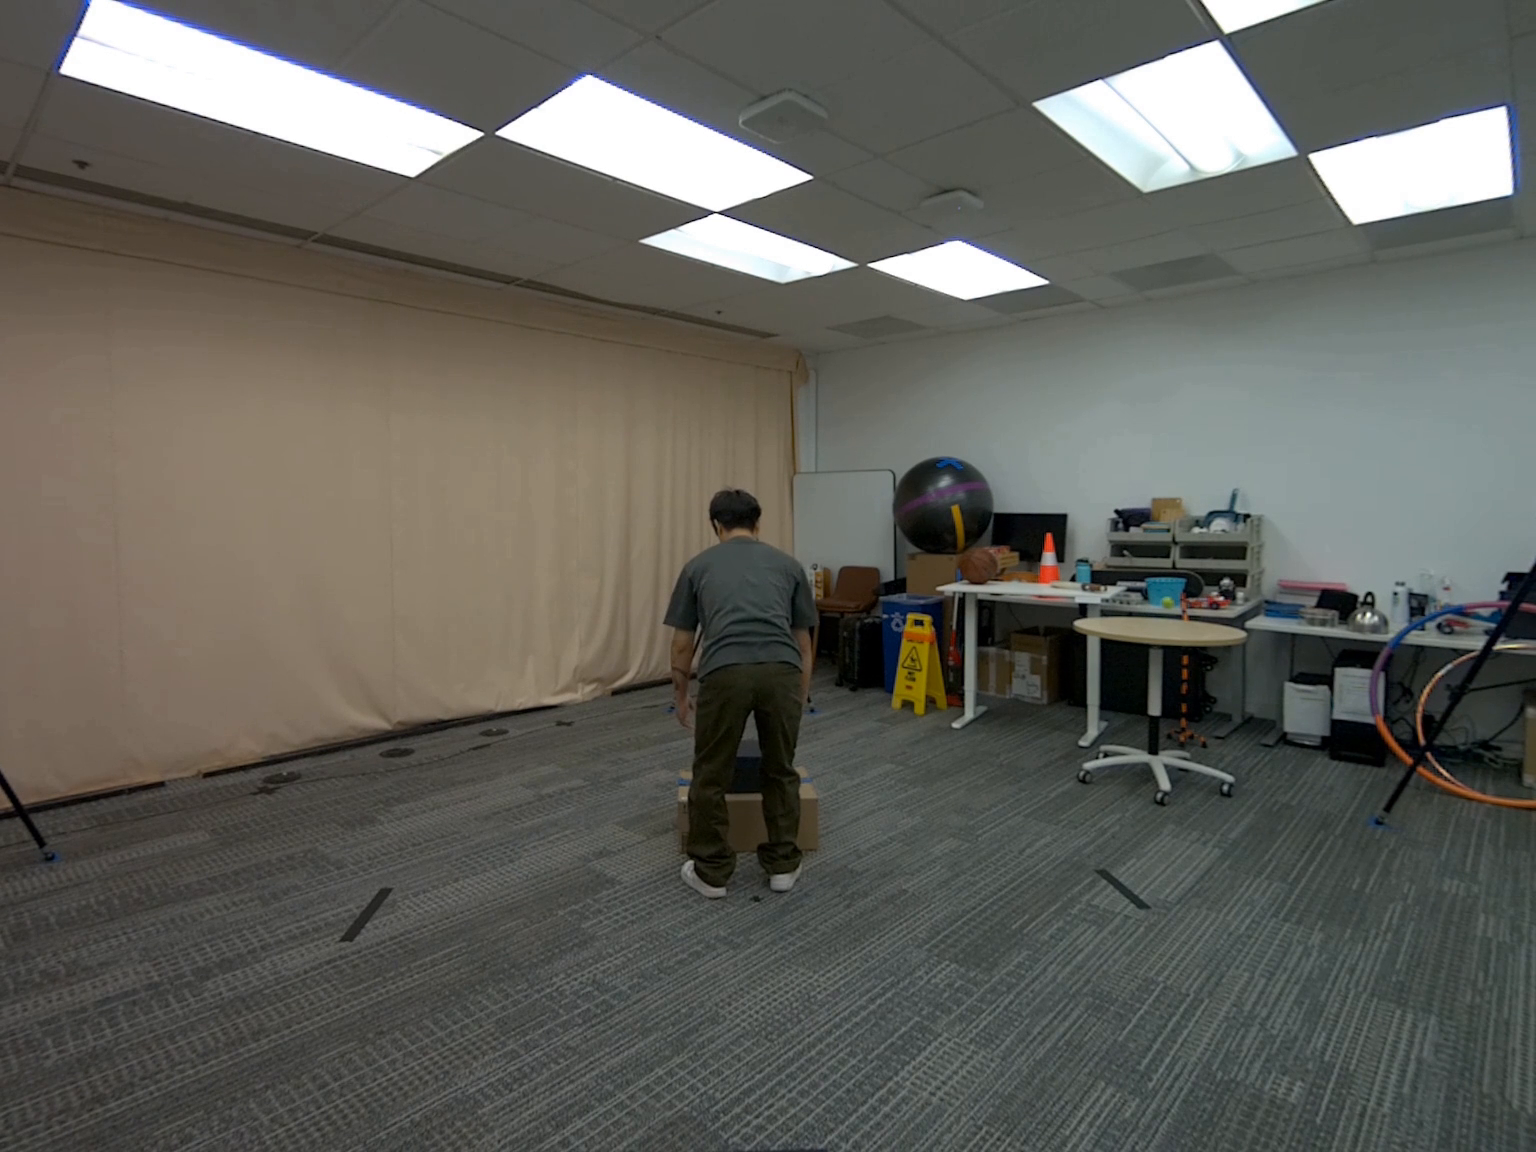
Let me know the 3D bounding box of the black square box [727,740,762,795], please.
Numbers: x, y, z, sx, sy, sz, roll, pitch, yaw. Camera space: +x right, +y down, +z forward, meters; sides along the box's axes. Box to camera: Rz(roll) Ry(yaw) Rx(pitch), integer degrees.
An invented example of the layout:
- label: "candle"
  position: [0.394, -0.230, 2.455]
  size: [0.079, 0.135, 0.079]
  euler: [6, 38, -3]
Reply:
- label: "black square box"
  position: [-0.102, 0.799, 3.550]
  size: [0.227, 0.155, 0.218]
  euler: [-1, 5, -3]
